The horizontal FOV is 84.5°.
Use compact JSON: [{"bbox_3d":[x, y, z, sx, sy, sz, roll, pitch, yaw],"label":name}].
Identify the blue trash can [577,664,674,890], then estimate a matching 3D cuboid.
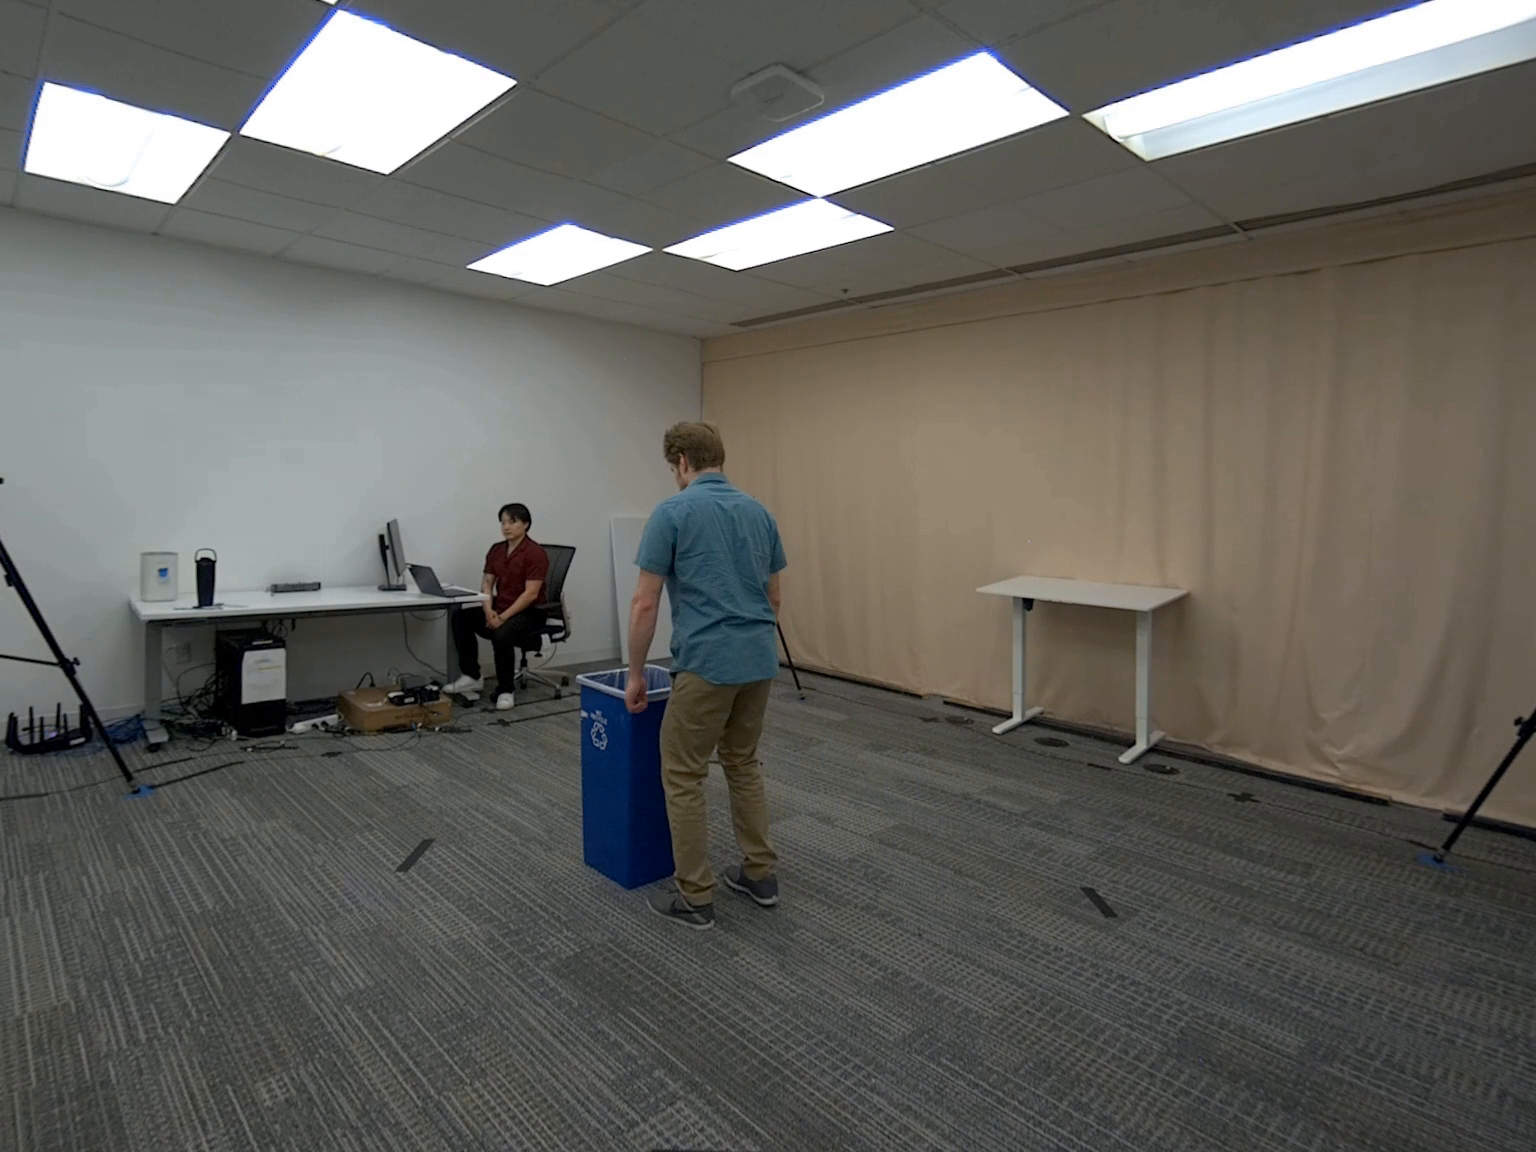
[{"bbox_3d":[-0.488,0.736,3.163,0.388,0.711,0.366,6,7,45],"label":"blue trash can"}]
